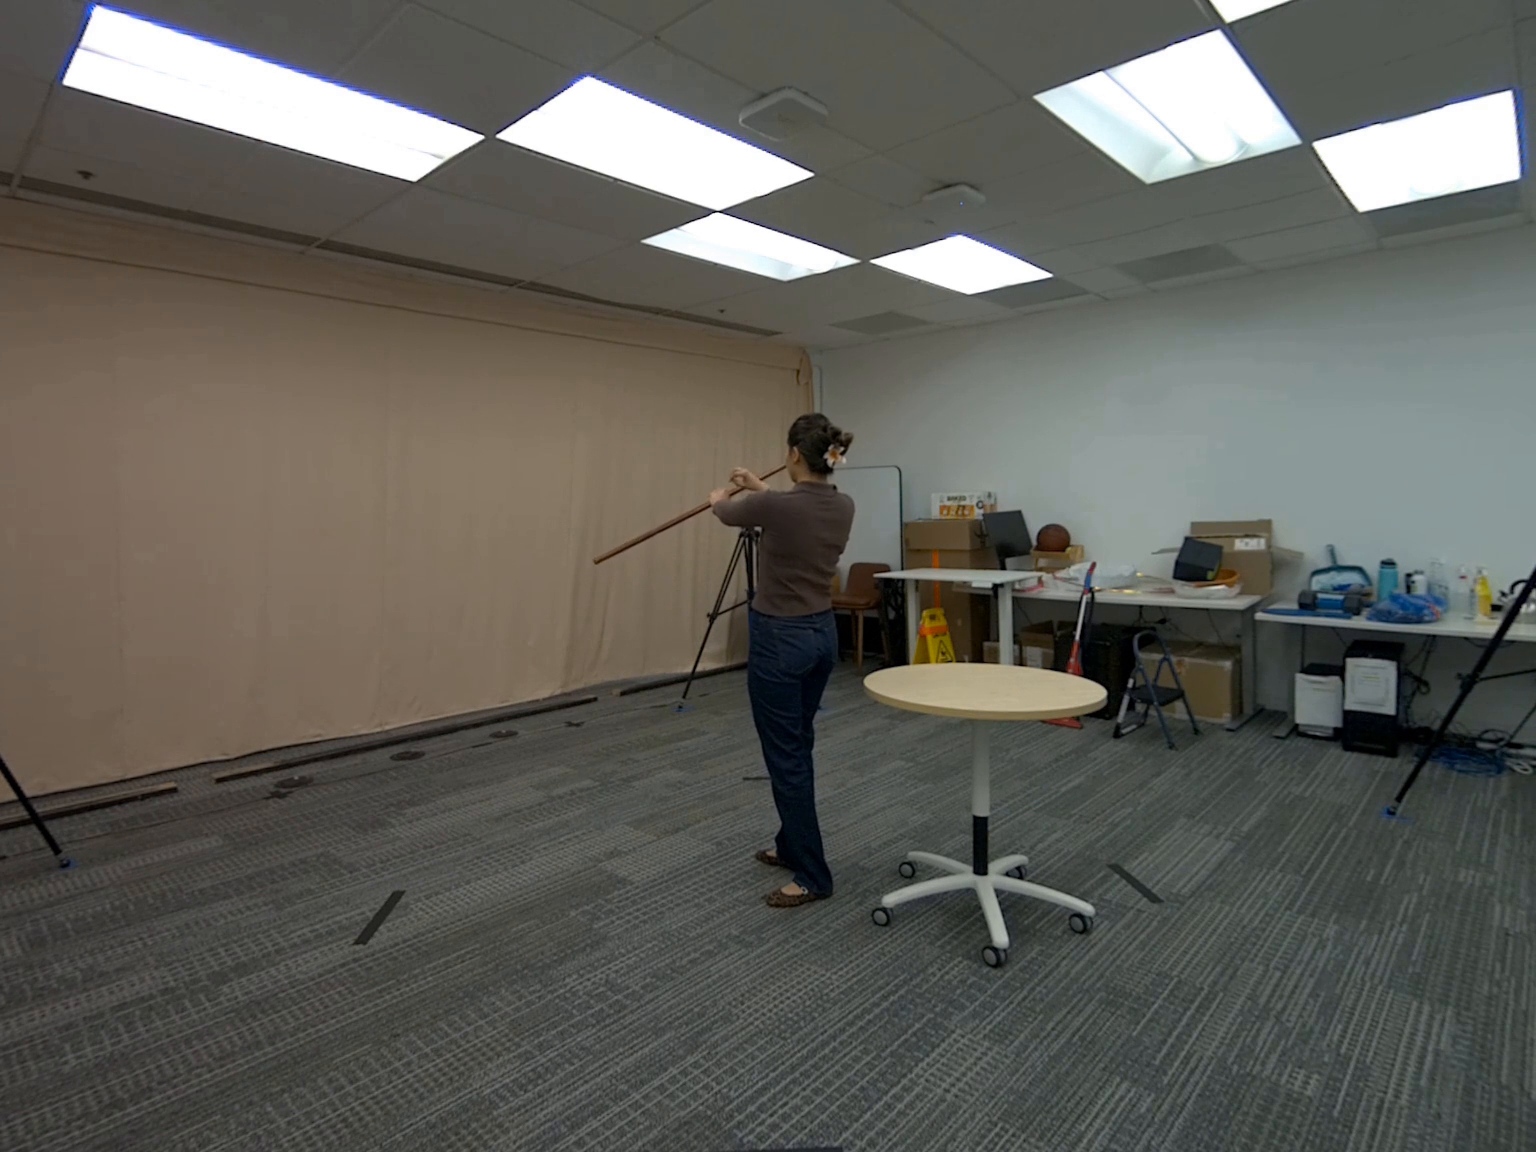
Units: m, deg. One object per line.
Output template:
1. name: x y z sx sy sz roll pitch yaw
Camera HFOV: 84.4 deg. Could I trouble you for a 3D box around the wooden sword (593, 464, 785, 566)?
1. wooden sword: -0.249 -0.279 3.414 1.018 0.024 0.052 -29 16 -9
